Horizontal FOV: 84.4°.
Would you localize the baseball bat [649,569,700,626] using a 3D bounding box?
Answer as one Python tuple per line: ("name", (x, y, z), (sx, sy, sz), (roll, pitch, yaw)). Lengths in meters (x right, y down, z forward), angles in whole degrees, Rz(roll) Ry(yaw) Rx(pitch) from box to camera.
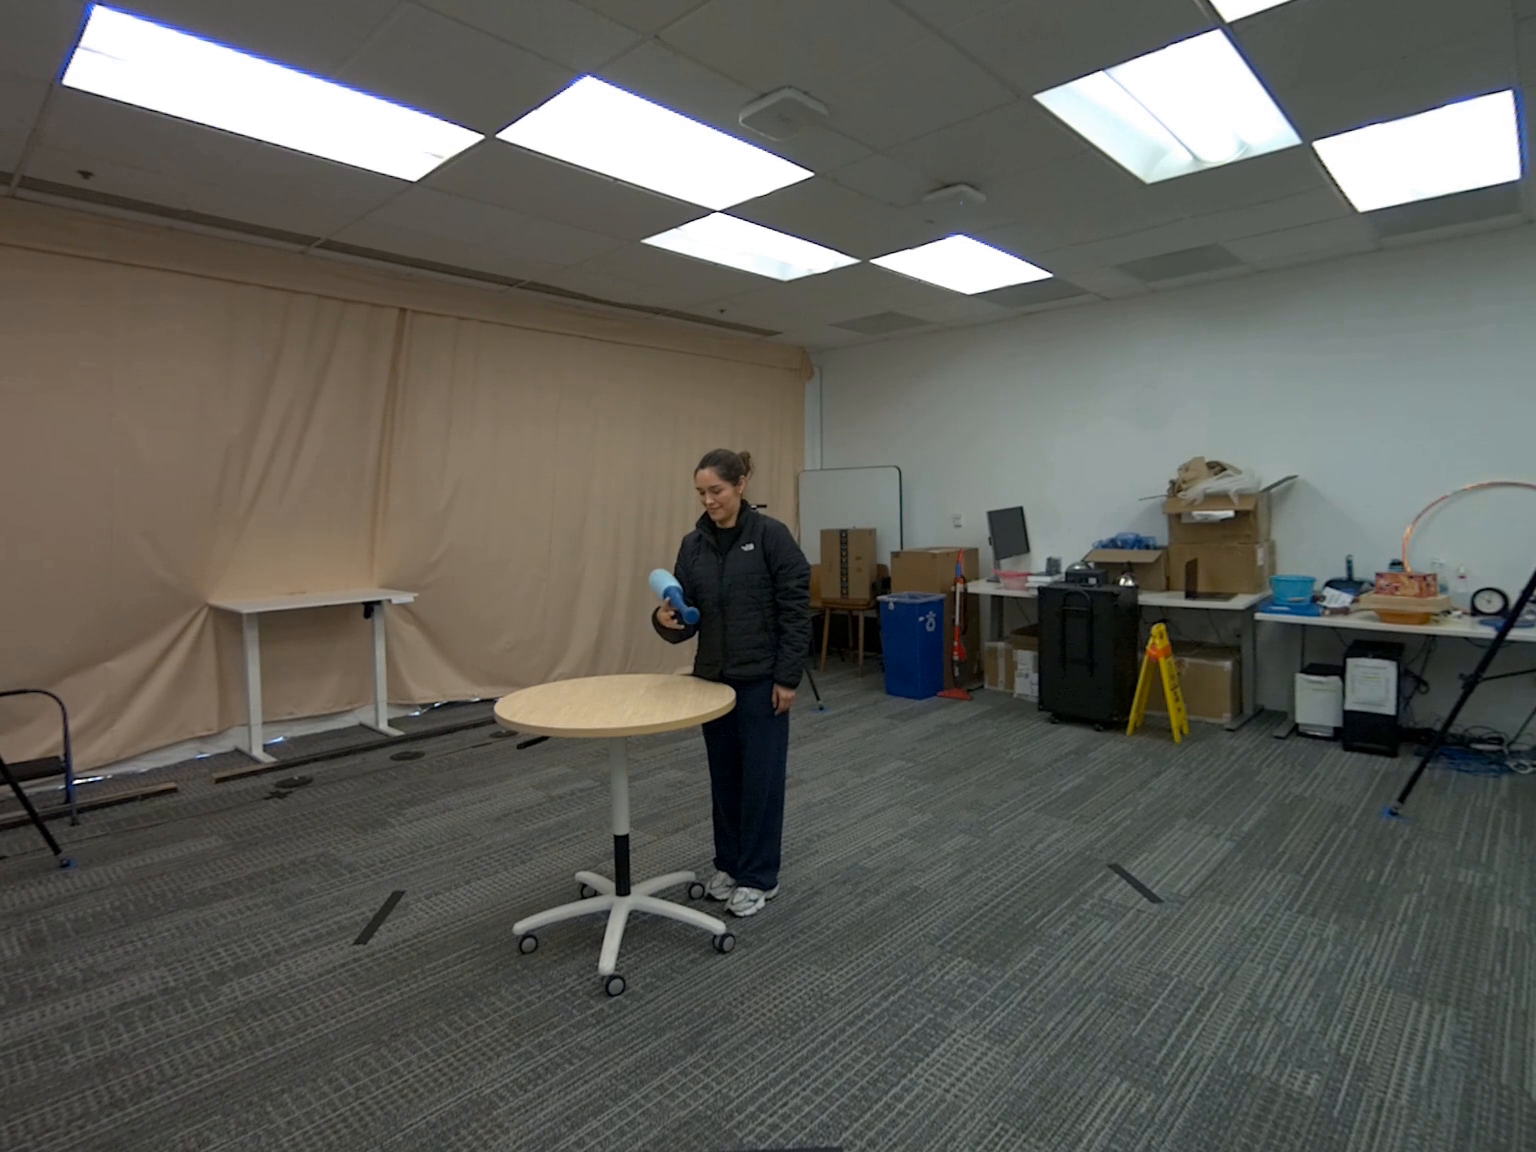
("baseball bat", (-0.315, 0.071, 2.736), (0.088, 0.088, 0.553), (-2, 13, -12))
